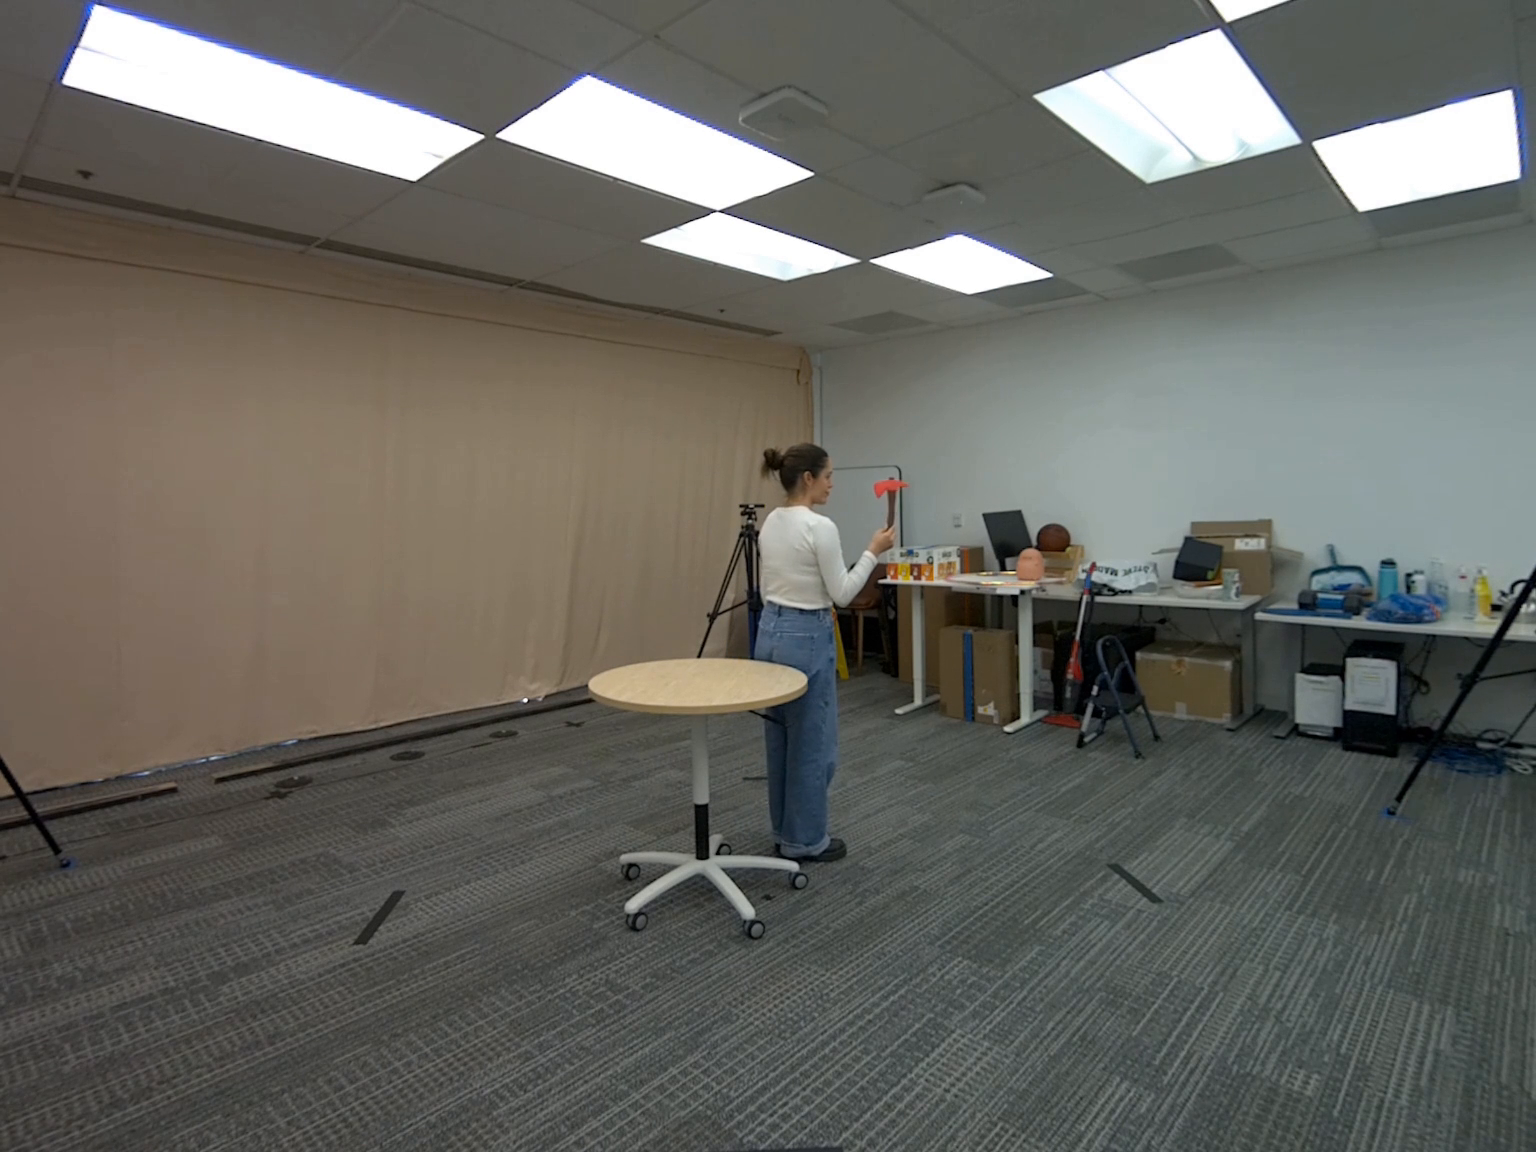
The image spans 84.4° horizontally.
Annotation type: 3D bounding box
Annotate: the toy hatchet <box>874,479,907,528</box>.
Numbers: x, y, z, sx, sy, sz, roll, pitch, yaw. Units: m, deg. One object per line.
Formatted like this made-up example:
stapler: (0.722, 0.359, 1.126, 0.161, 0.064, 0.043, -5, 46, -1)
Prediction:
toy hatchet: (0.443, -0.254, 3.228, 0.130, 0.270, 0.030, 20, 0, -8)
